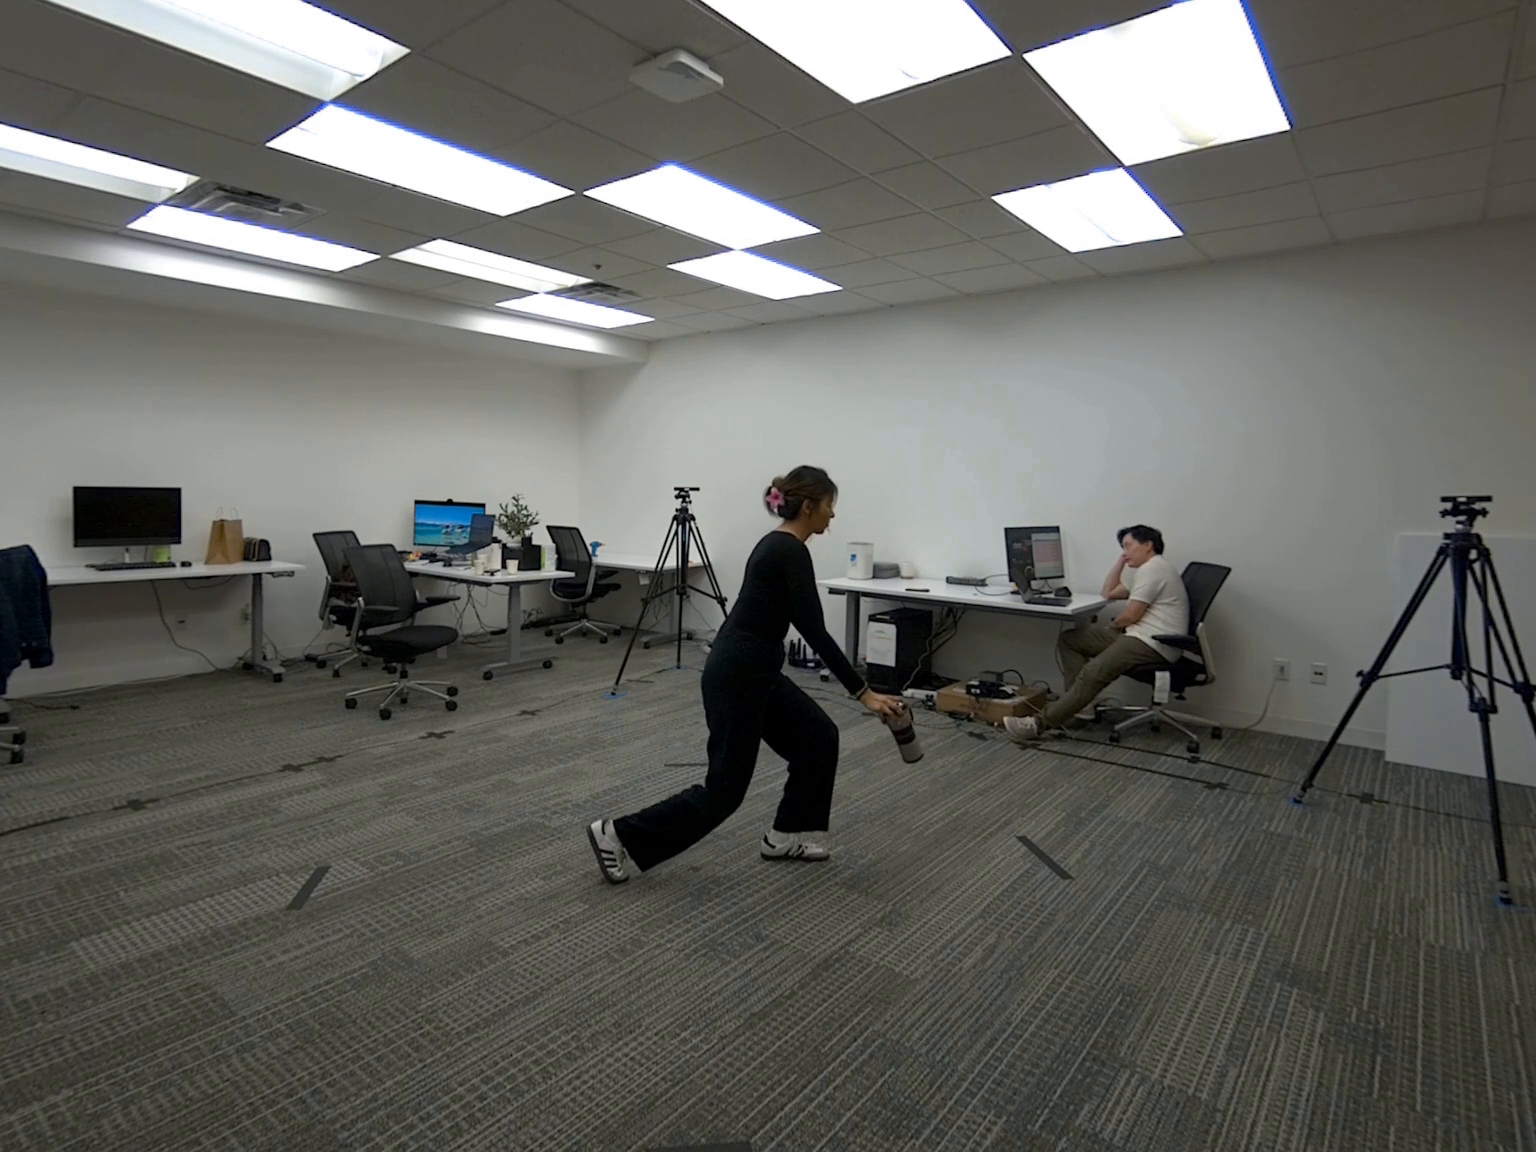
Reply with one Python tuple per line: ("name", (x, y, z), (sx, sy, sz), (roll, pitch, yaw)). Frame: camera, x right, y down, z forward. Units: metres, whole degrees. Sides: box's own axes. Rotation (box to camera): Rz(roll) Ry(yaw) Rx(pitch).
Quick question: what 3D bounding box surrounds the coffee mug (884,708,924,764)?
("coffee mug", (0.458, 0.501, 2.841), (0.090, 0.200, 0.121), (-14, 17, 43))
